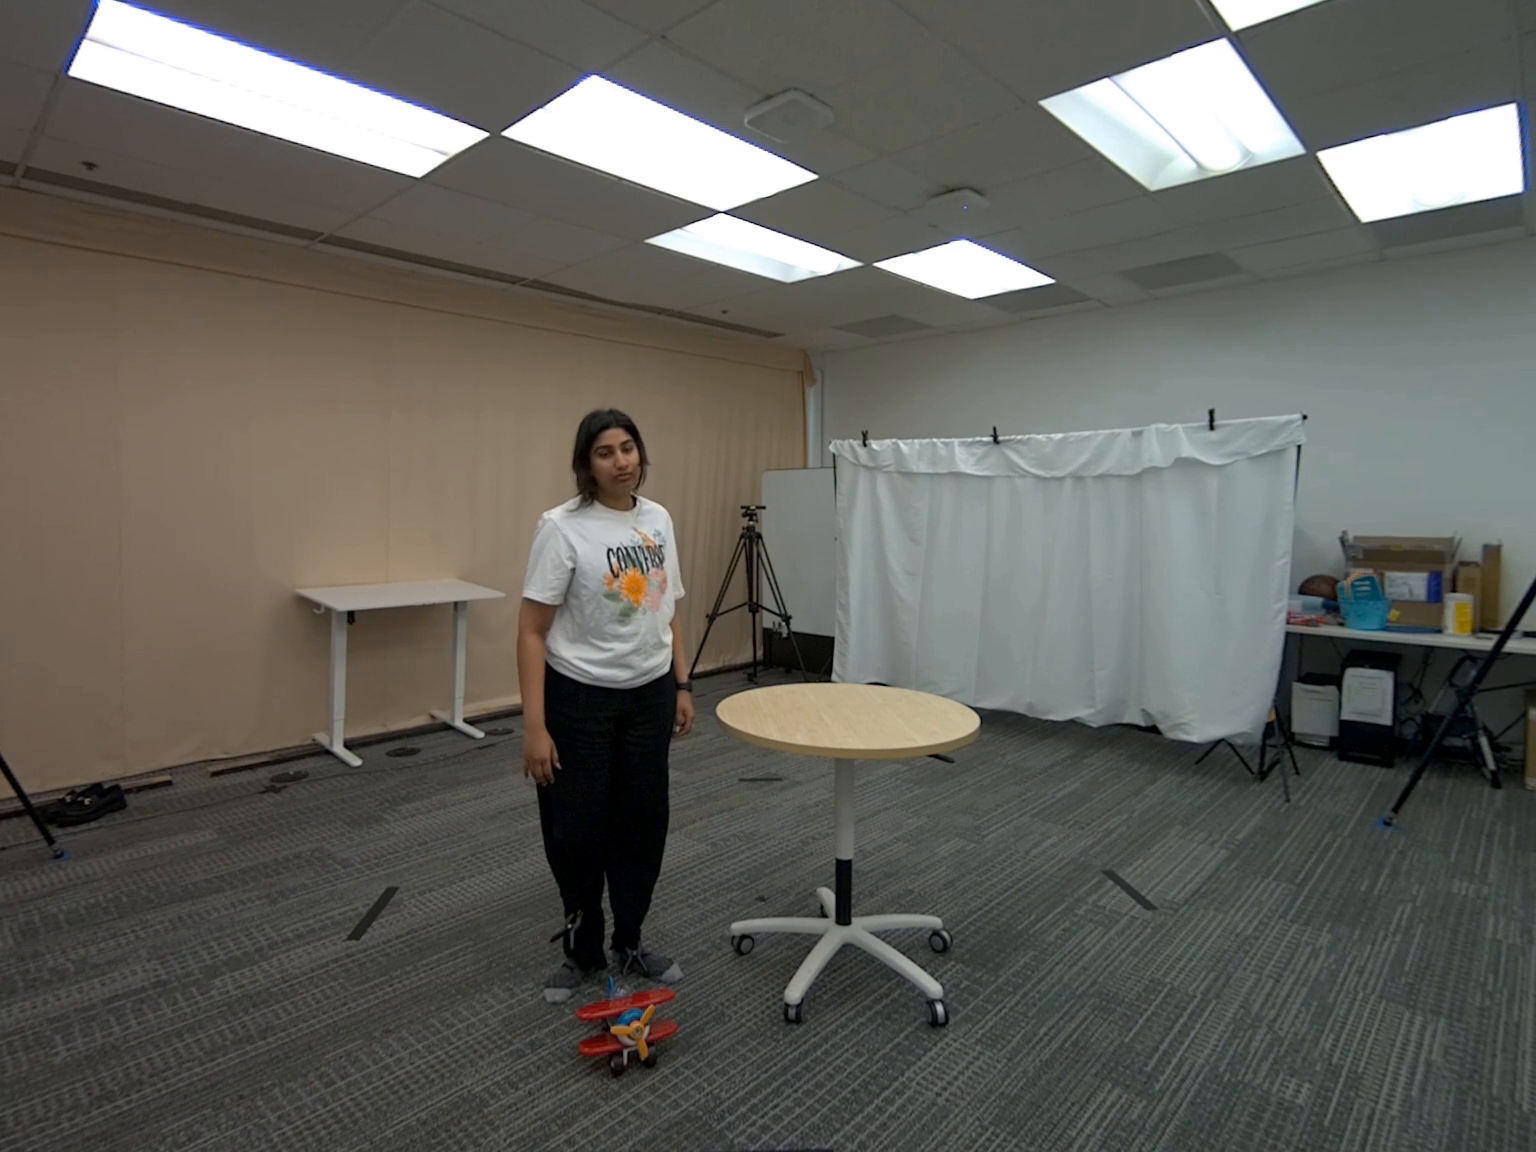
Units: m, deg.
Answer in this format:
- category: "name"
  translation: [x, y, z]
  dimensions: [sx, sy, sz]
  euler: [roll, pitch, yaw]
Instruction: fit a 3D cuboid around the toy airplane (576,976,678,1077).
- category: "toy airplane"
  translation: [-0.384, 1.146, 2.140]
  dimensions: [0.268, 0.156, 0.244]
  euler: [4, 6, 38]
